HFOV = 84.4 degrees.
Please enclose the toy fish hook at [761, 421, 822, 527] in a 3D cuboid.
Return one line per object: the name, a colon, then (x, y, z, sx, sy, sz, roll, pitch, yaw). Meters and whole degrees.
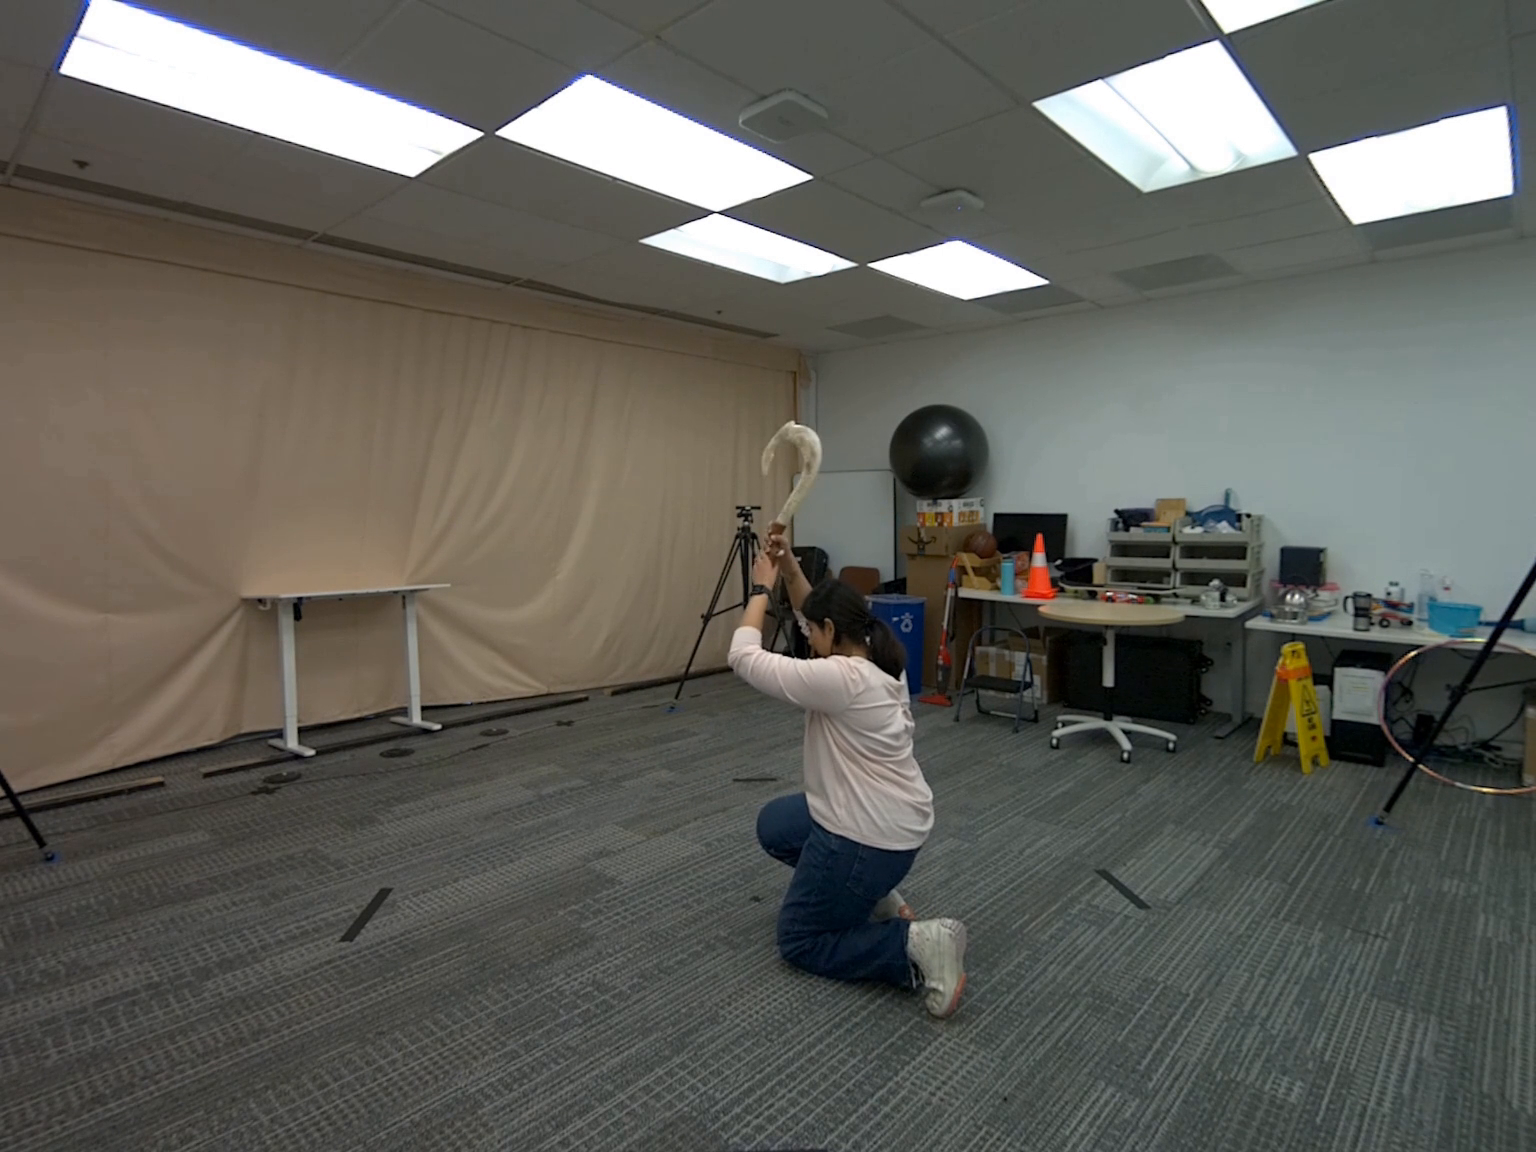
toy fish hook: (0.035, -0.229, 2.665, 0.047, 0.505, 0.233, 6, 20, -45)
